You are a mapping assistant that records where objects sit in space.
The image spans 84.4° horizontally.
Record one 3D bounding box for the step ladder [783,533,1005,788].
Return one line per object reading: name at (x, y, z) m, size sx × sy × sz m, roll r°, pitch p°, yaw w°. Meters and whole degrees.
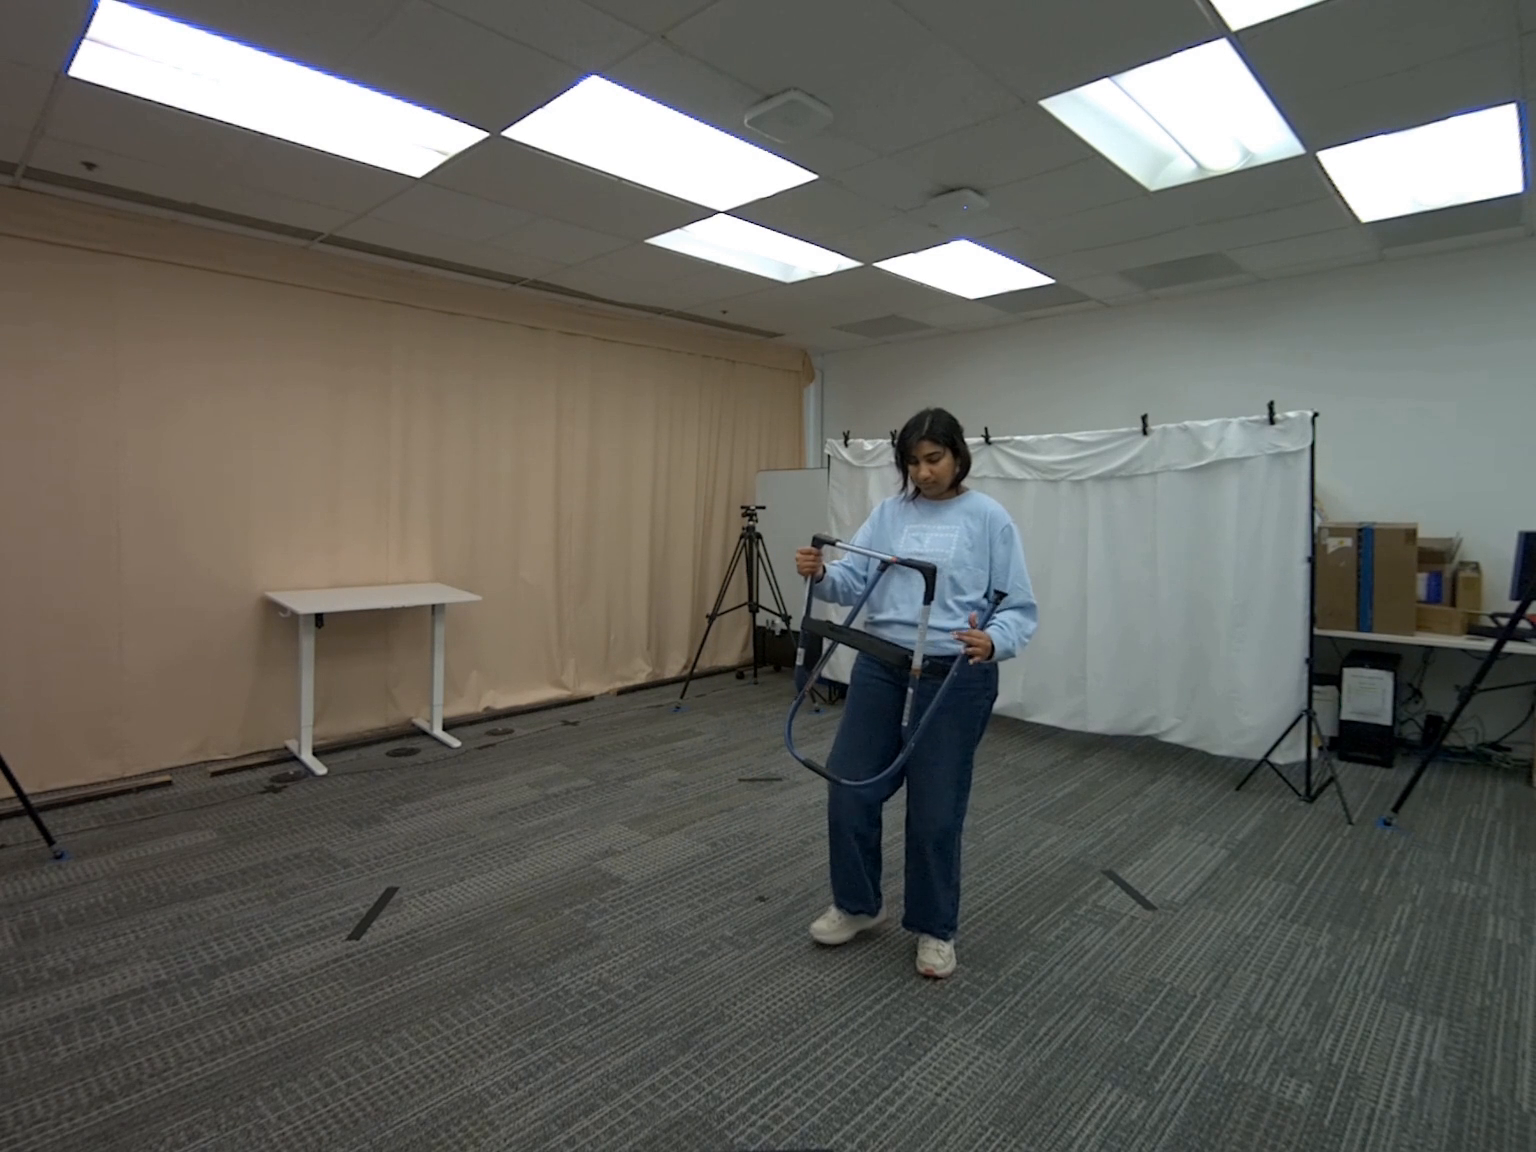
step ladder at (0.288, 0.254, 2.263) m, size 0.337 × 0.606 × 0.446 m, roll 20°, pitch -1°, yaw -40°
